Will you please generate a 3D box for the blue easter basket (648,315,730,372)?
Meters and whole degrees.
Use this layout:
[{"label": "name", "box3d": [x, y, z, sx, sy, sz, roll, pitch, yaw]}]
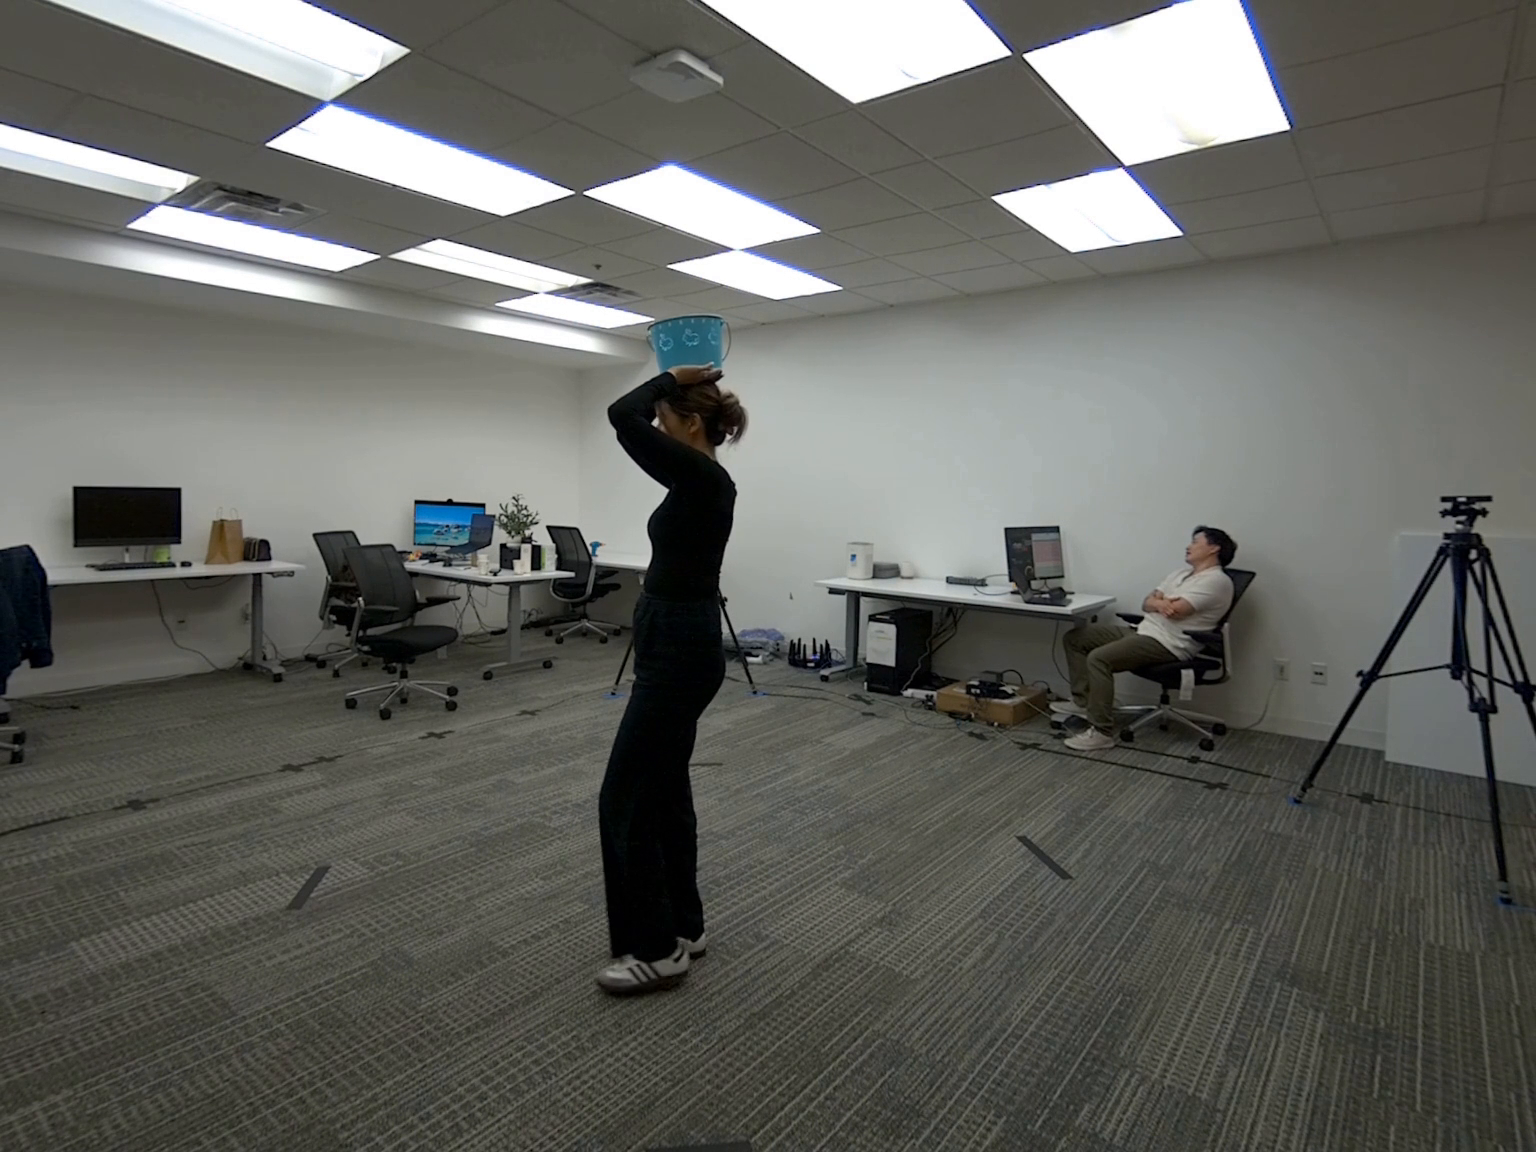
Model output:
[{"label": "blue easter basket", "box3d": [-0.235, -0.664, 2.497, 0.243, 0.155, 0.245, -6, 7, -1]}]
